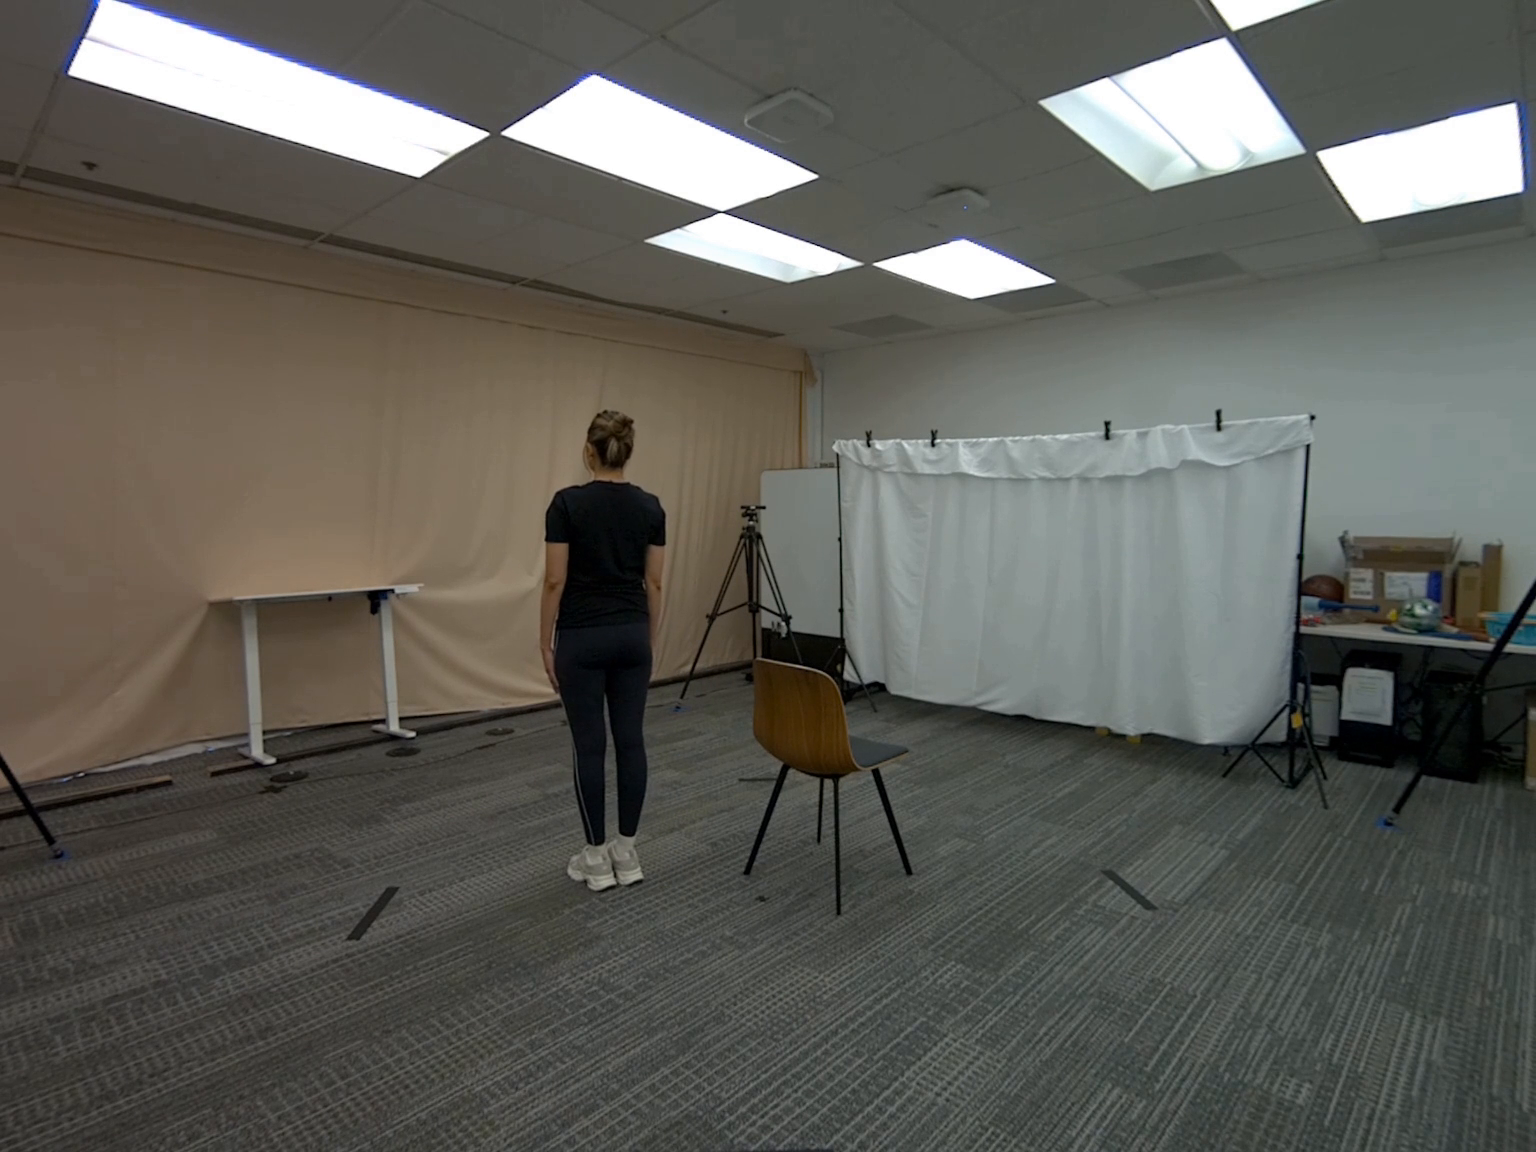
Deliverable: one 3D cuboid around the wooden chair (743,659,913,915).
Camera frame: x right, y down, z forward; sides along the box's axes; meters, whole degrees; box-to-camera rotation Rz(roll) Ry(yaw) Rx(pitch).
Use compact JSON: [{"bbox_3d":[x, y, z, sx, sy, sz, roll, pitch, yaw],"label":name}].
[{"bbox_3d":[0.236,0.702,3.149,0.494,0.873,0.508,3,9,43],"label":"wooden chair"}]
